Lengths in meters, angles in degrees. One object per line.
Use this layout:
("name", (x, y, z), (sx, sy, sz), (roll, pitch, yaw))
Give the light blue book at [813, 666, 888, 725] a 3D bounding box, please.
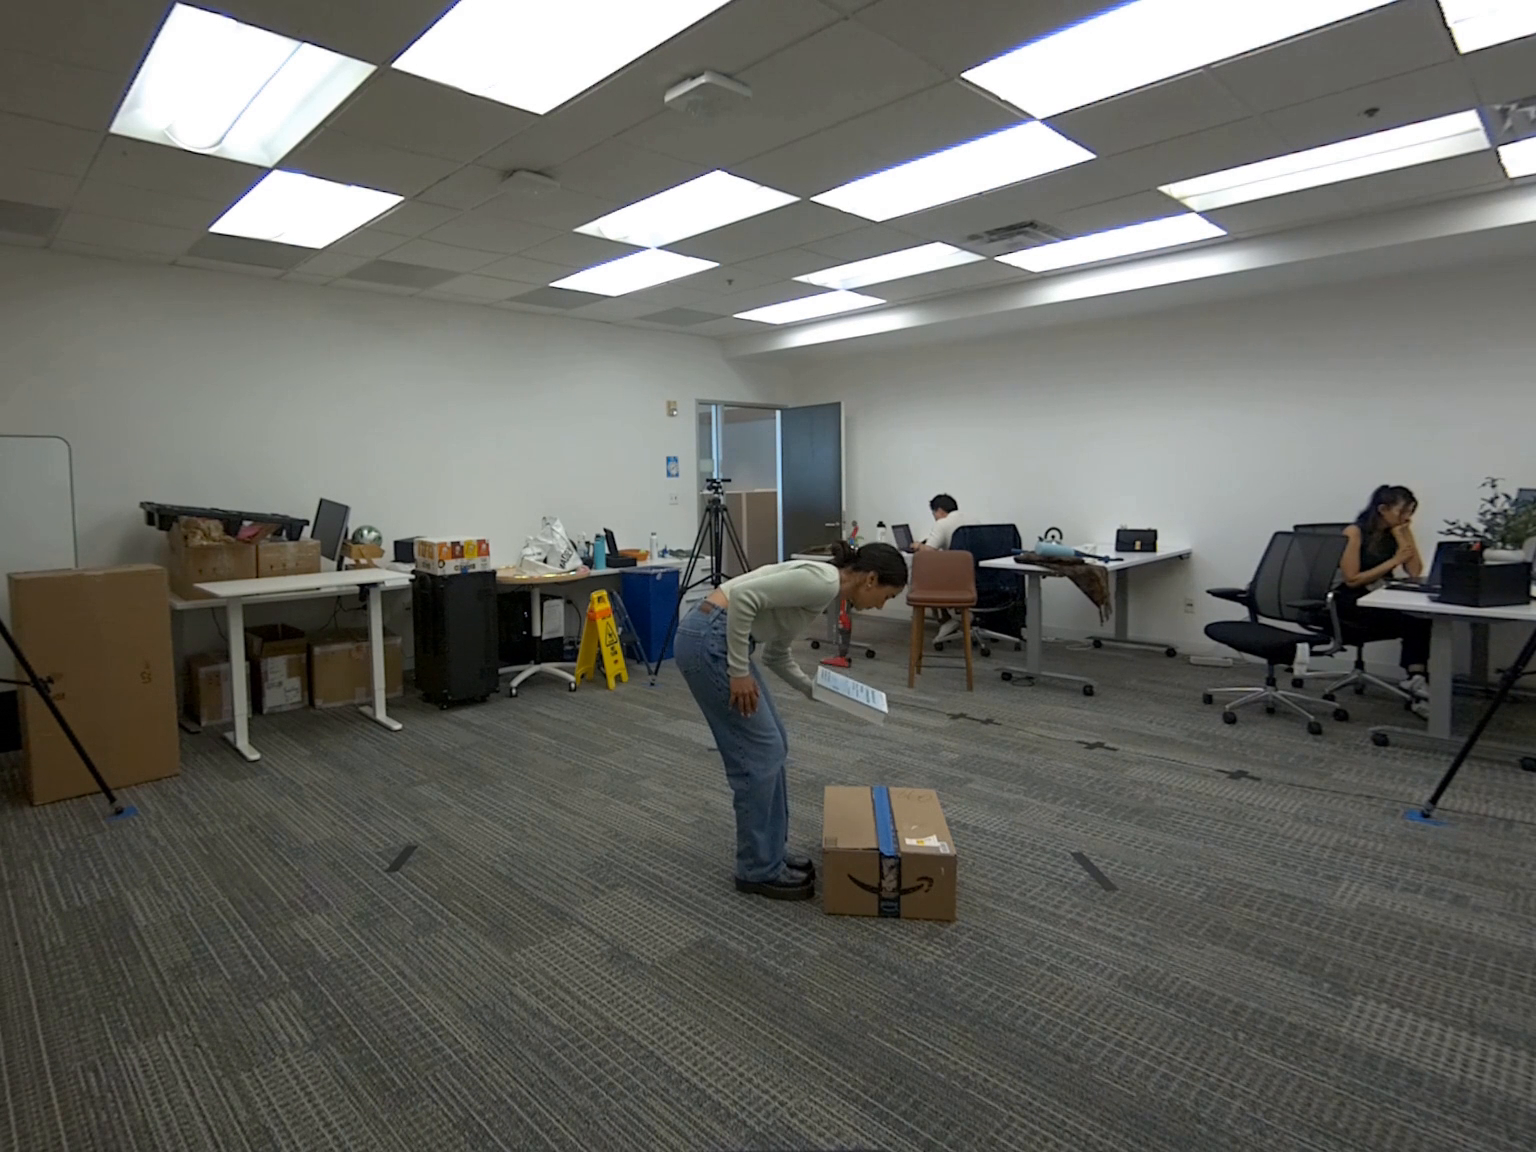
("light blue book", (0.291, 0.418, 3.033), (0.262, 0.058, 0.192), (22, 12, 2))
